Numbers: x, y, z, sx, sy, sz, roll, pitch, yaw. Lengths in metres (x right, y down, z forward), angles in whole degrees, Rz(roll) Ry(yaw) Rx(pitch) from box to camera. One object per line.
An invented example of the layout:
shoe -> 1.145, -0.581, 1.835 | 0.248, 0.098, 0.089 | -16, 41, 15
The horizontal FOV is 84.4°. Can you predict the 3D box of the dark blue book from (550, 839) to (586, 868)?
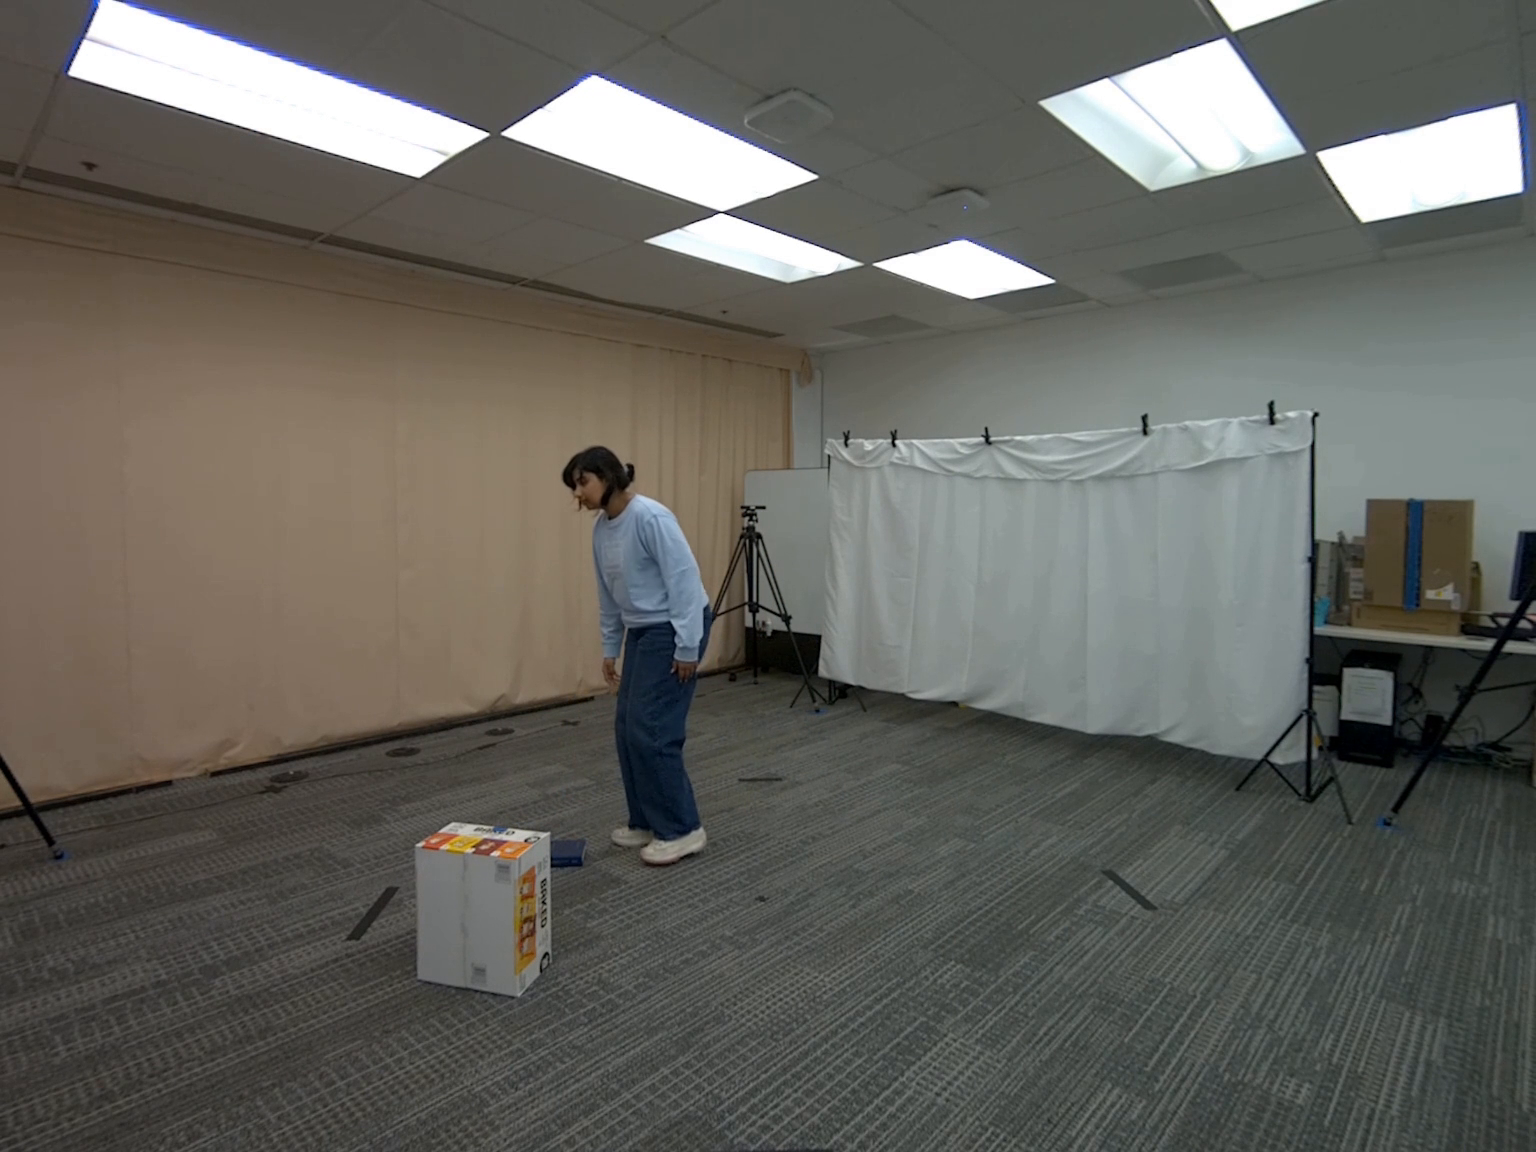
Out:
dark blue book -> -0.850, 1.104, 3.341 | 0.244, 0.045, 0.164 | -1, 4, -4
